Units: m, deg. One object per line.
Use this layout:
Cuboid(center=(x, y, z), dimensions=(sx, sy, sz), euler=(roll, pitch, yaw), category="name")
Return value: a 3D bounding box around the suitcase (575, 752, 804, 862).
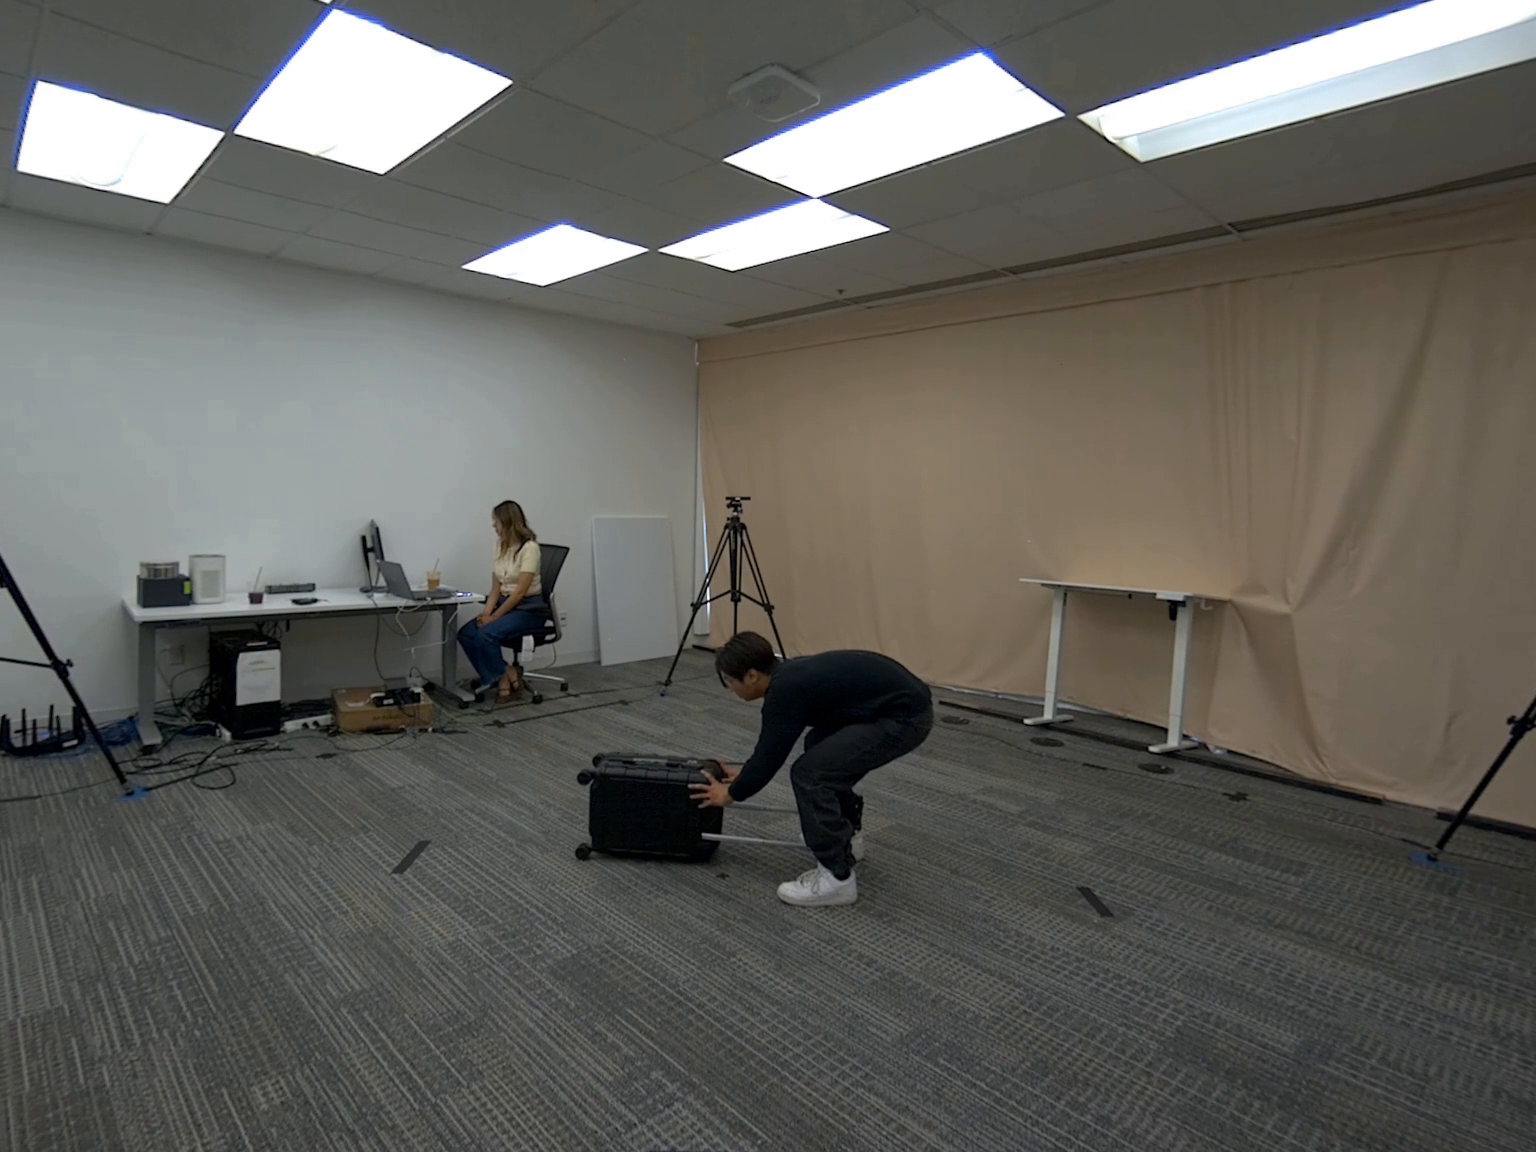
Cuboid(center=(-0.244, 0.901, 3.266), dimensions=(0.984, 0.382, 0.257), euler=(1, 5, 6), category="suitcase")
